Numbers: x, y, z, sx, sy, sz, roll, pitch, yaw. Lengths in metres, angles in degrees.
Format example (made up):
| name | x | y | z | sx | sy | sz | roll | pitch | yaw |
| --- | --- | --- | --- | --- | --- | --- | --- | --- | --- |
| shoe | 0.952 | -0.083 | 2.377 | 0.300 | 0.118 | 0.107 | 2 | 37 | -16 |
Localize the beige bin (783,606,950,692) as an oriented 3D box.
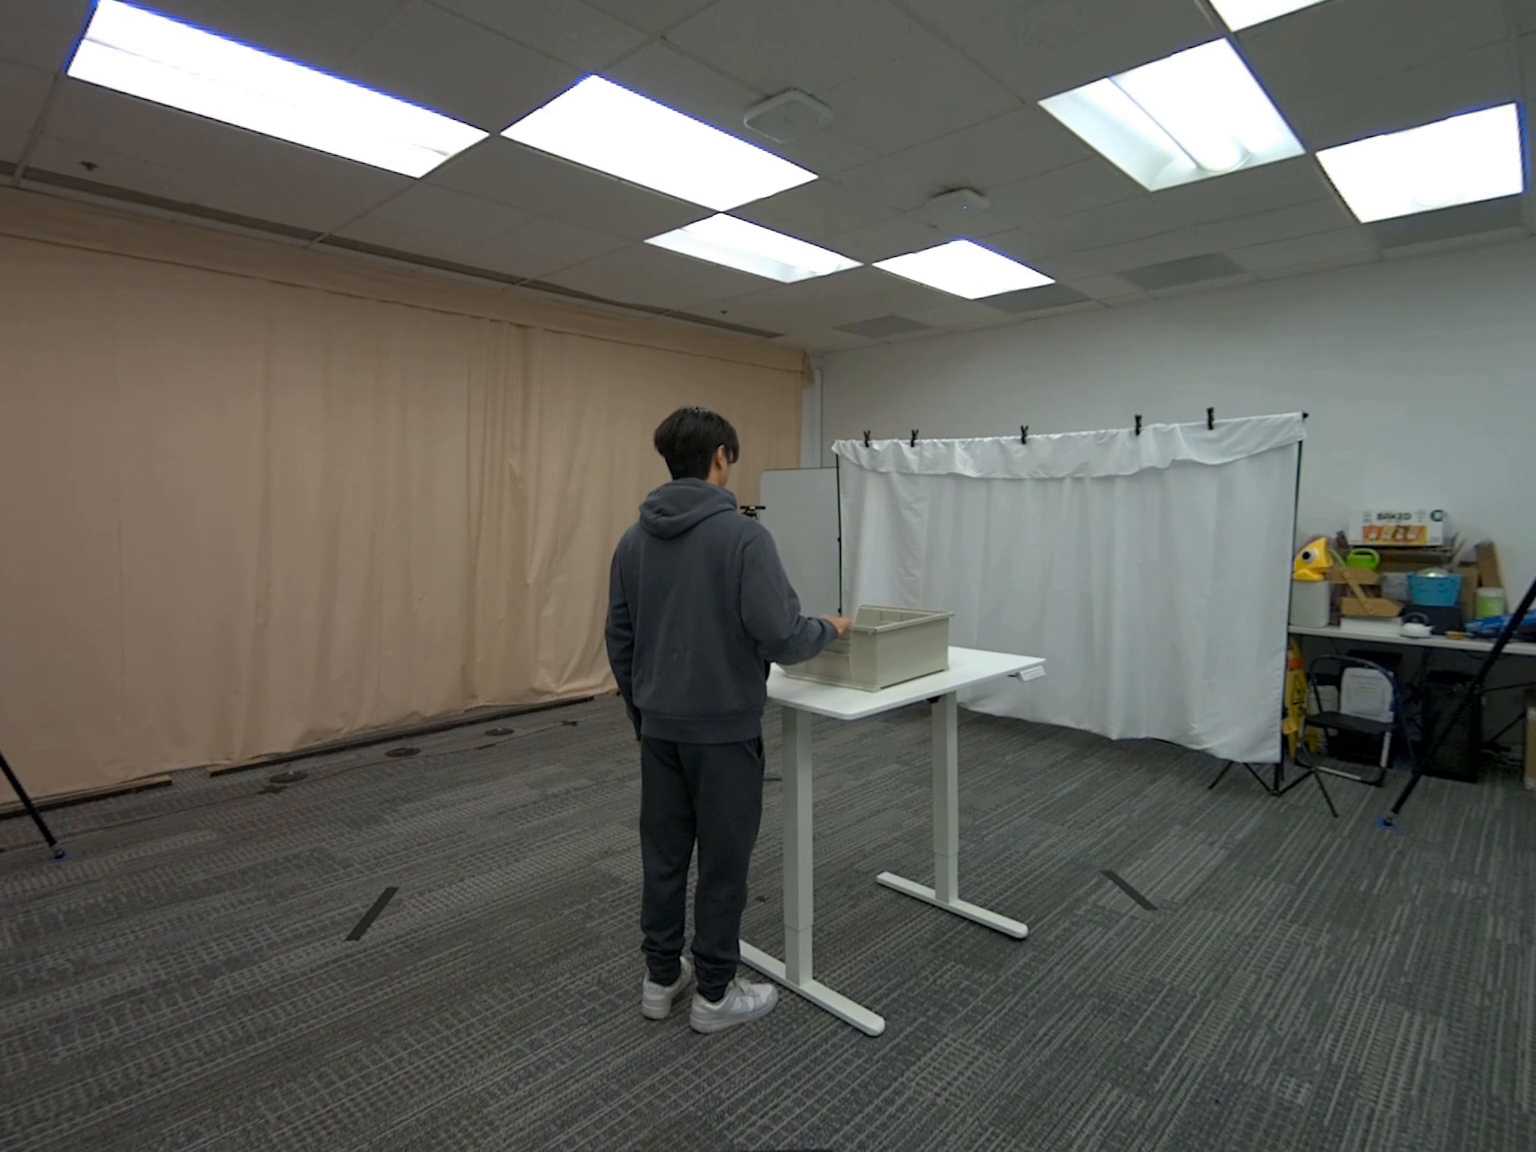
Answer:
| name | x | y | z | sx | sy | sz | roll | pitch | yaw |
| --- | --- | --- | --- | --- | --- | --- | --- | --- | --- |
| beige bin | 0.294 | 0.208 | 2.561 | 0.390 | 0.188 | 0.409 | 5 | 7 | 43 |
